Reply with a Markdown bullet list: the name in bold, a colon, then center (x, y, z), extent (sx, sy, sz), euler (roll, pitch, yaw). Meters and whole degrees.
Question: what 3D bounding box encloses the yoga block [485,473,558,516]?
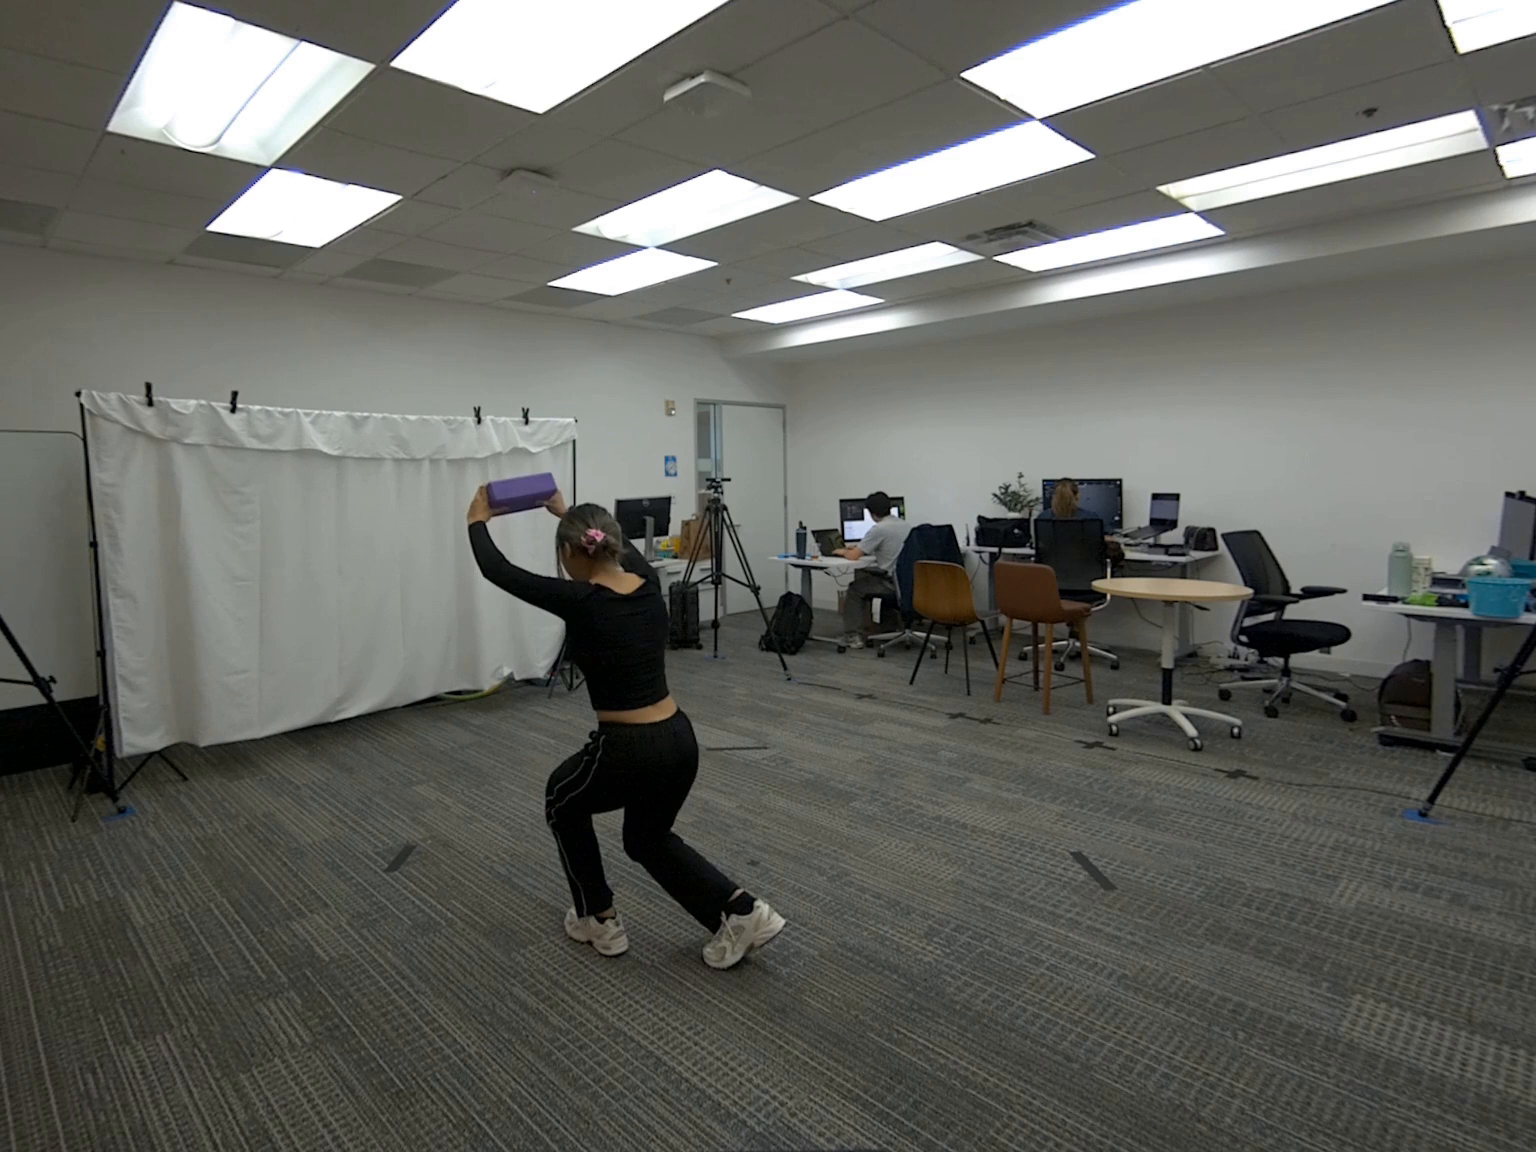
- **yoga block**: center (-0.828, -0.263, 2.814), extent (0.225, 0.077, 0.150), euler (-17, -9, -37)
